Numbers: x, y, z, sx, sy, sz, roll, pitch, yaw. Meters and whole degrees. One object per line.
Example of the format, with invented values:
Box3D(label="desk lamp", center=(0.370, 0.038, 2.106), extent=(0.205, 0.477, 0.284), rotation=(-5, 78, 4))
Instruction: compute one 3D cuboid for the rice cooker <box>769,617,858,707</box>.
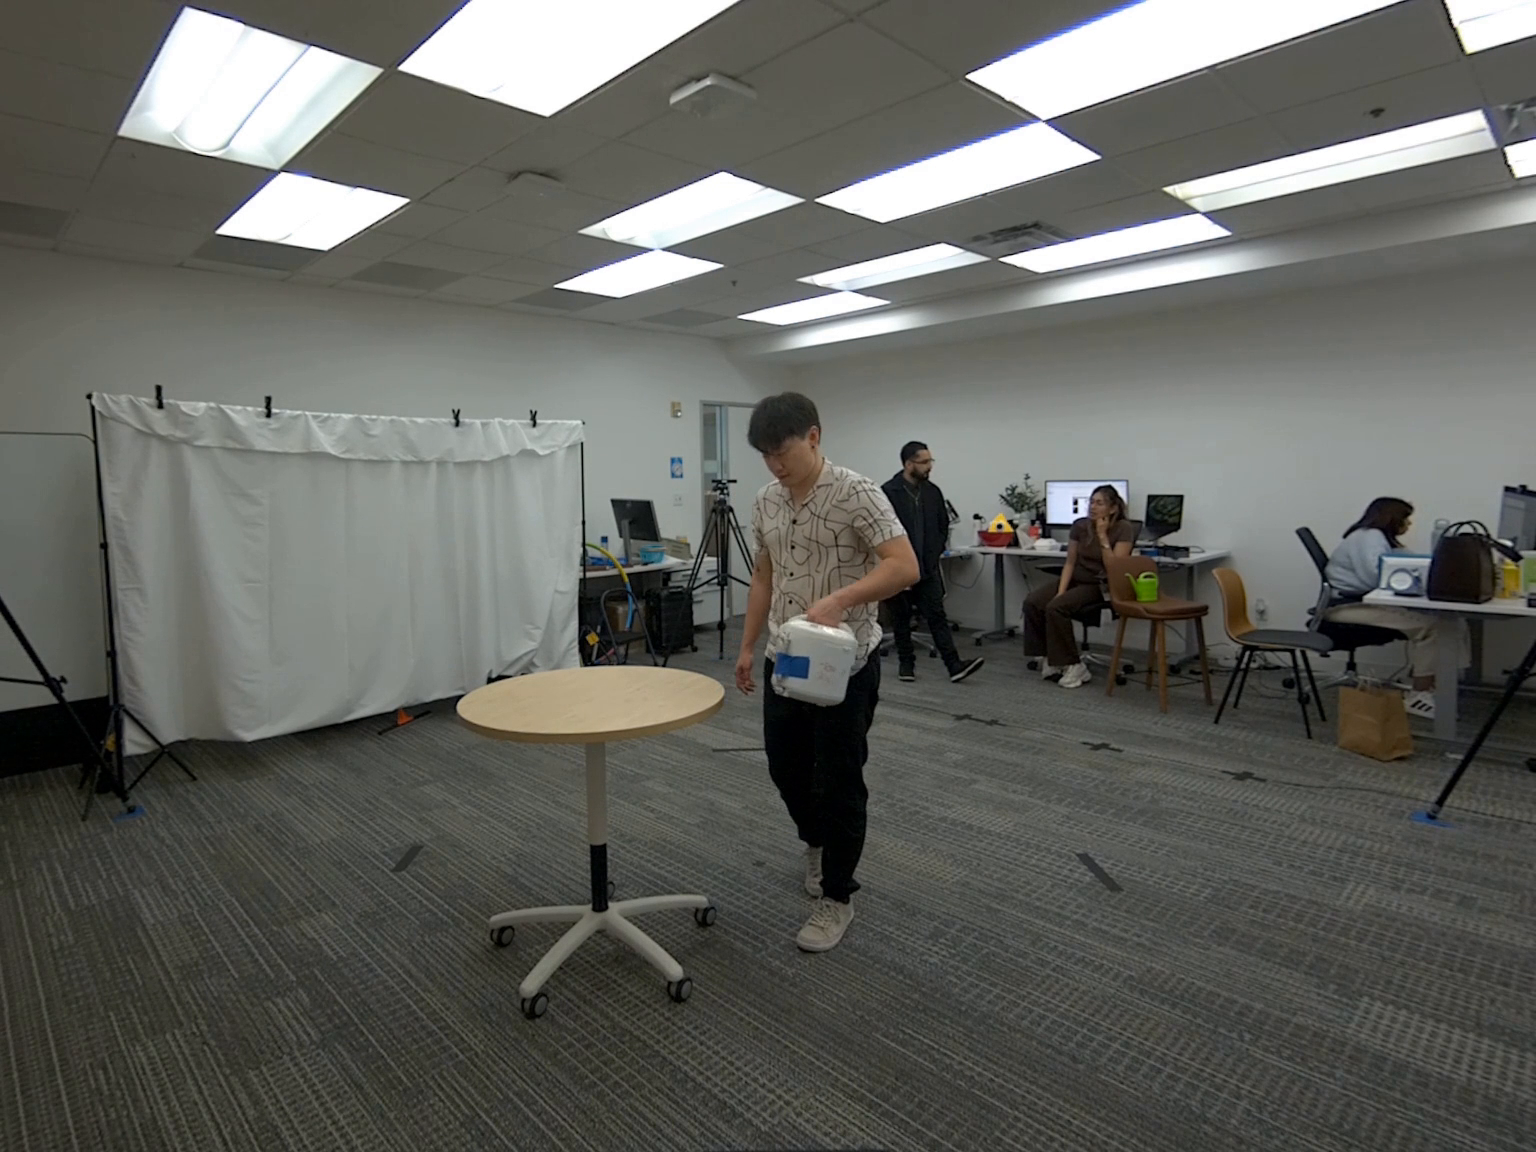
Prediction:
Box3D(label="rice cooker", center=(0.131, 0.222, 2.347), extent=(0.223, 0.233, 0.215), rotation=(11, -2, 8))
